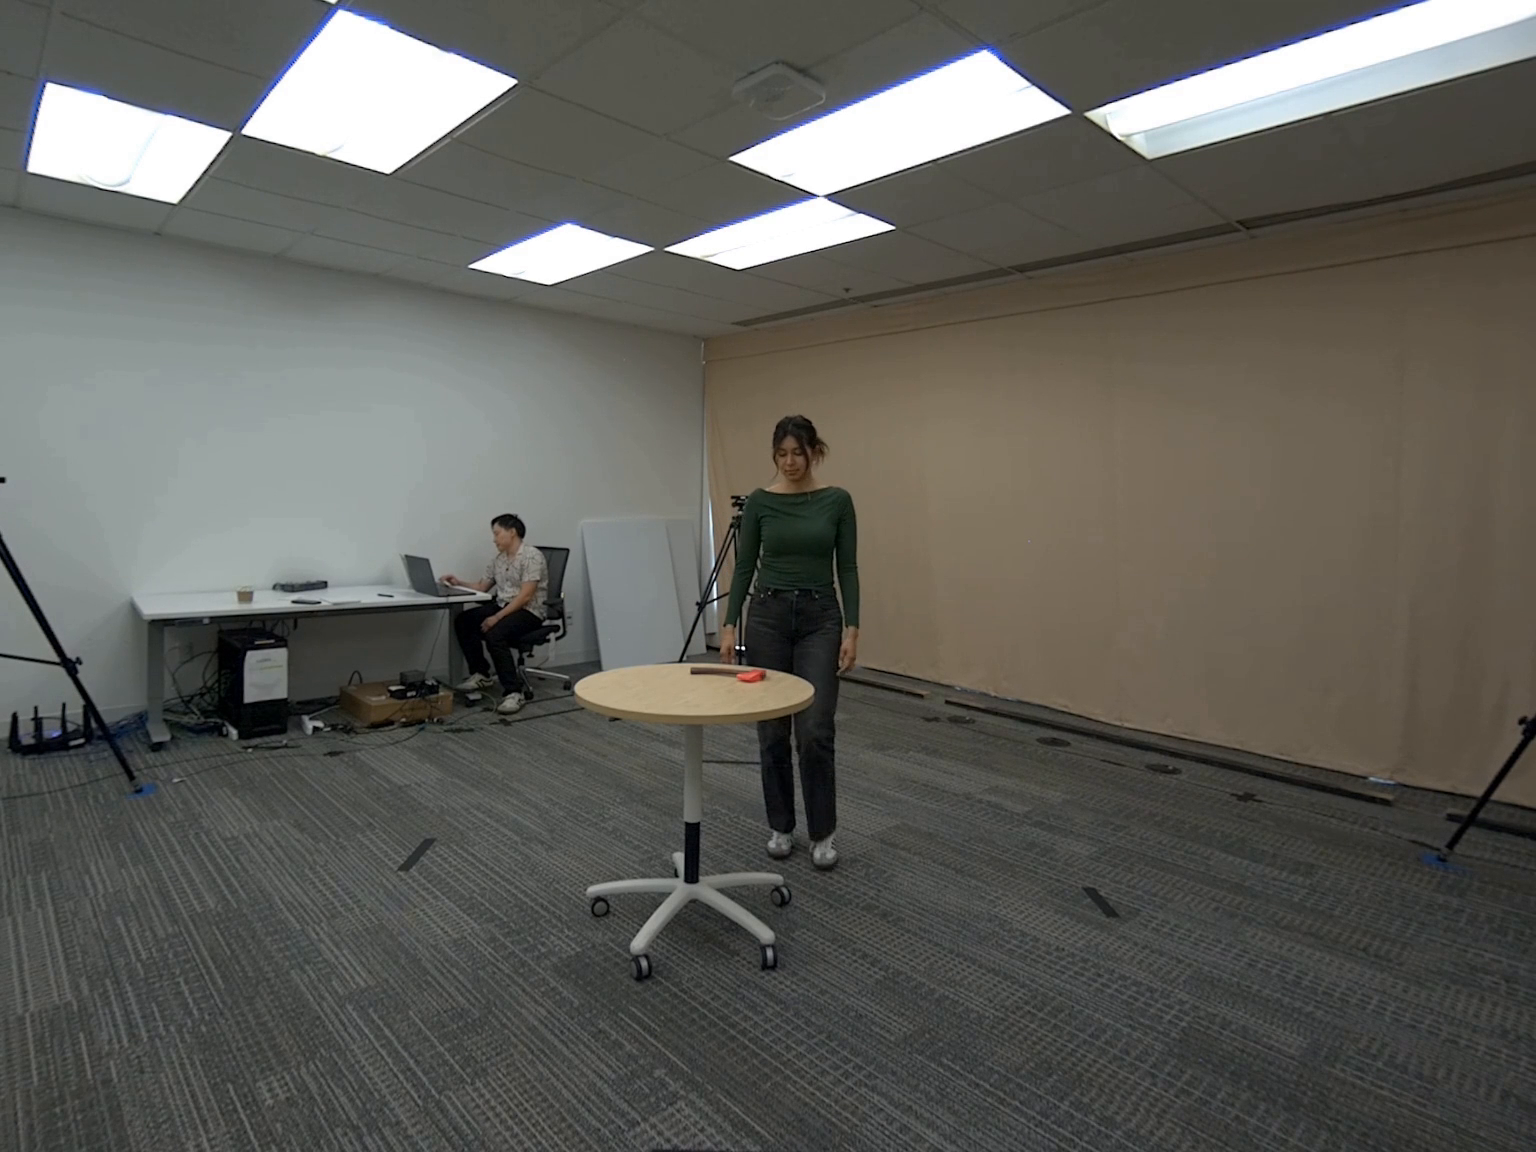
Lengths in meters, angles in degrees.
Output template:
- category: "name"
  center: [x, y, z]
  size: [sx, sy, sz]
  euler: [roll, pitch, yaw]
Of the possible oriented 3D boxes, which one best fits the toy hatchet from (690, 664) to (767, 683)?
- category: "toy hatchet"
  center: [-0.151, 0.337, 2.838]
  size: [0.272, 0.029, 0.131]
  euler: [0, 9, 9]
